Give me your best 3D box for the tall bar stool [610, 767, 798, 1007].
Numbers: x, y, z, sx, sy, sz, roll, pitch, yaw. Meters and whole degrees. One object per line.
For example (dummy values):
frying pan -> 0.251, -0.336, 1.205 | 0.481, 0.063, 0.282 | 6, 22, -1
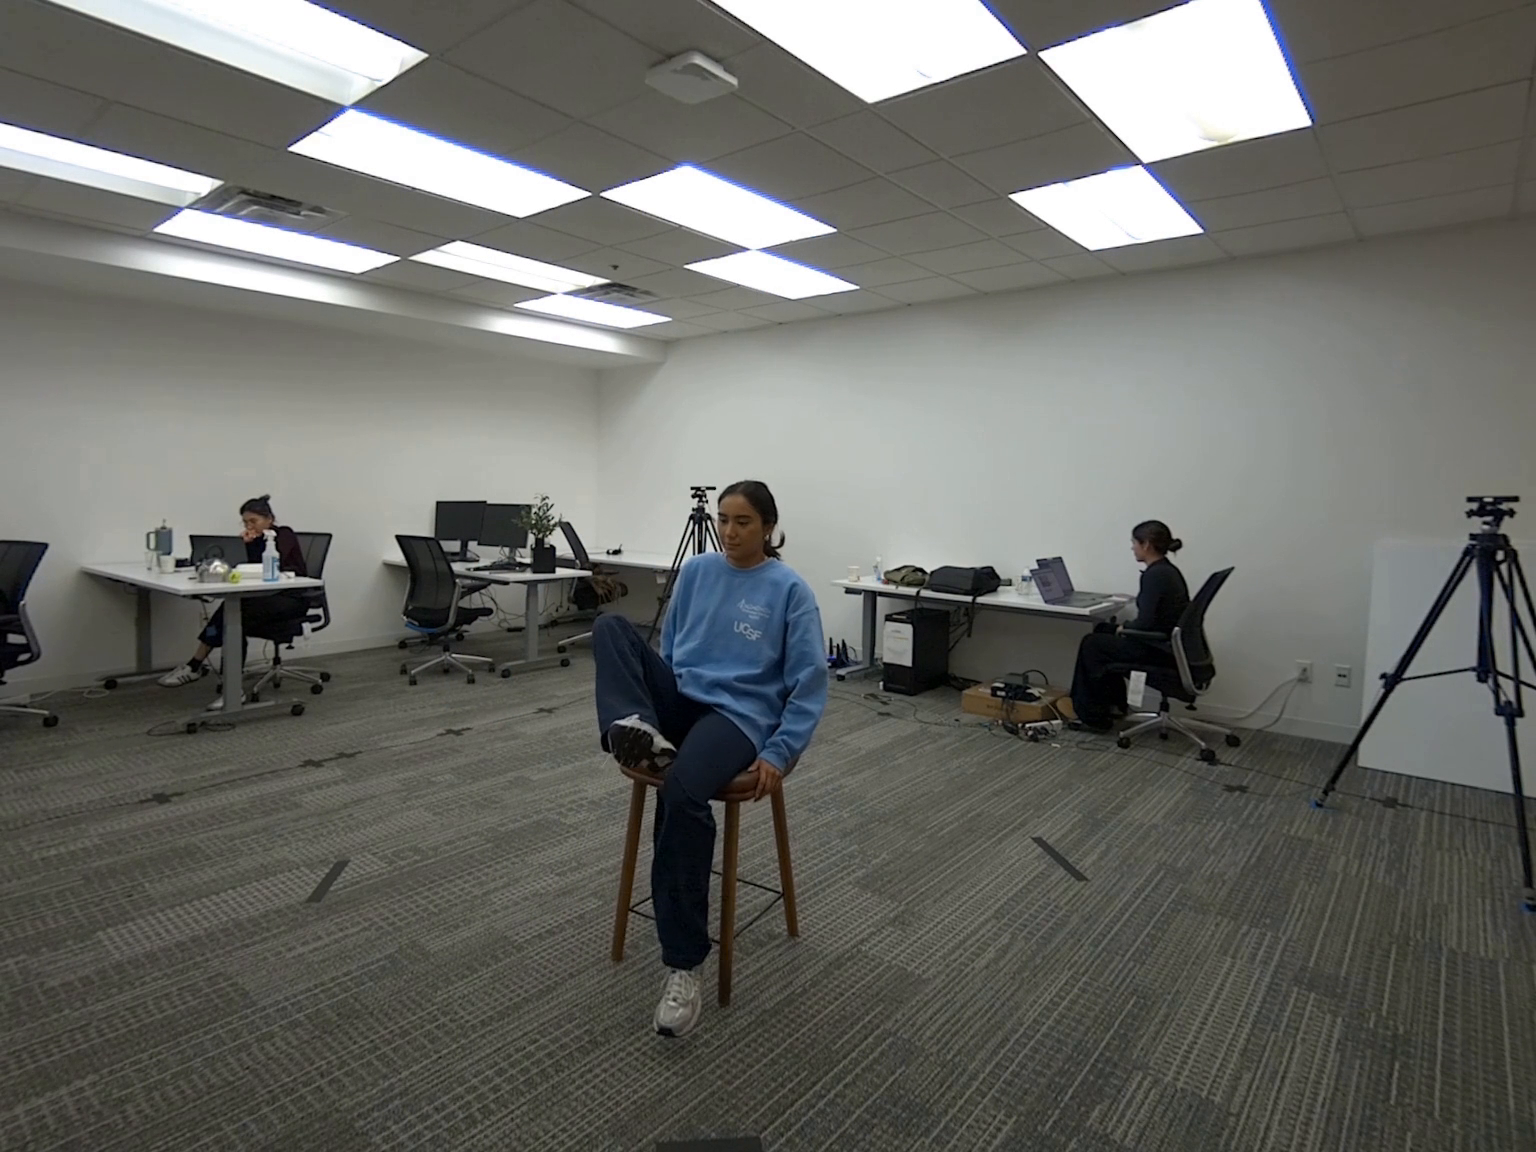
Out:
tall bar stool -> -0.171, 0.682, 2.561 | 0.470, 0.889, 0.454 | 3, 2, 32
